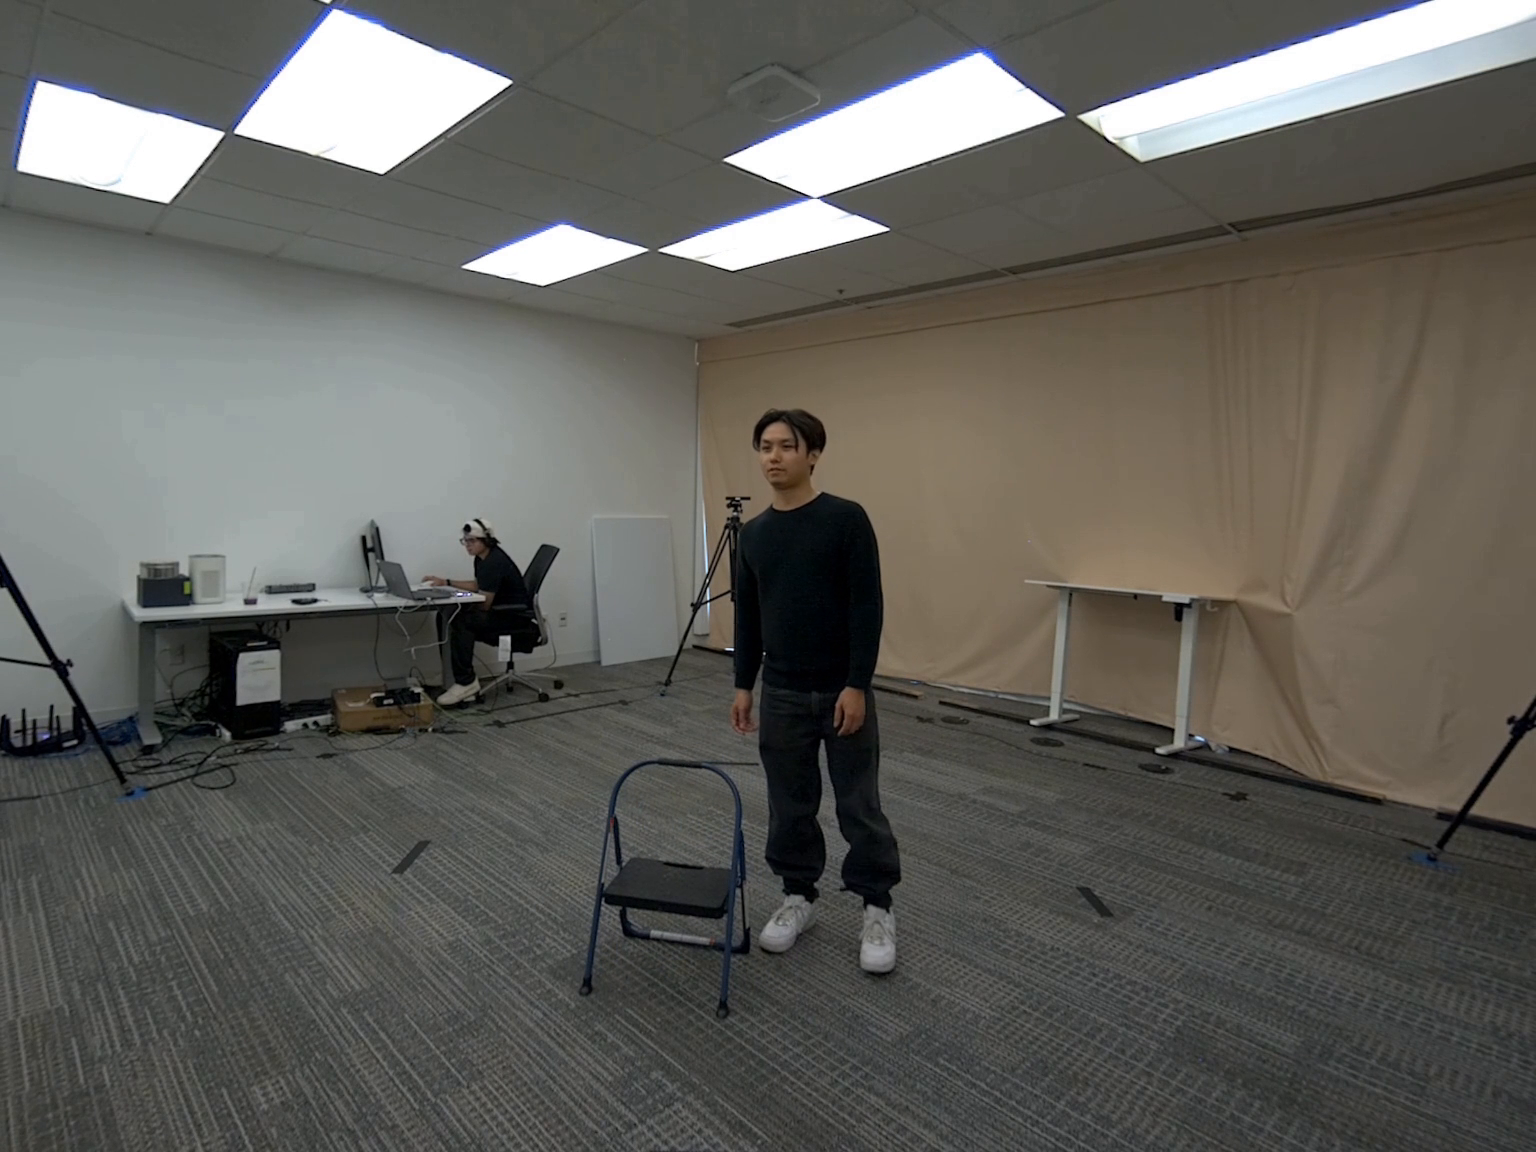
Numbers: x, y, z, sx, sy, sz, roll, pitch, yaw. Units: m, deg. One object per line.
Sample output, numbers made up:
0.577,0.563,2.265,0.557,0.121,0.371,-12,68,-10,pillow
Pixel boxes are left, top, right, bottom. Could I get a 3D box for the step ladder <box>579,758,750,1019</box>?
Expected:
-0.285,0.864,2.448,0.435,0.604,0.347,2,4,11,step ladder
